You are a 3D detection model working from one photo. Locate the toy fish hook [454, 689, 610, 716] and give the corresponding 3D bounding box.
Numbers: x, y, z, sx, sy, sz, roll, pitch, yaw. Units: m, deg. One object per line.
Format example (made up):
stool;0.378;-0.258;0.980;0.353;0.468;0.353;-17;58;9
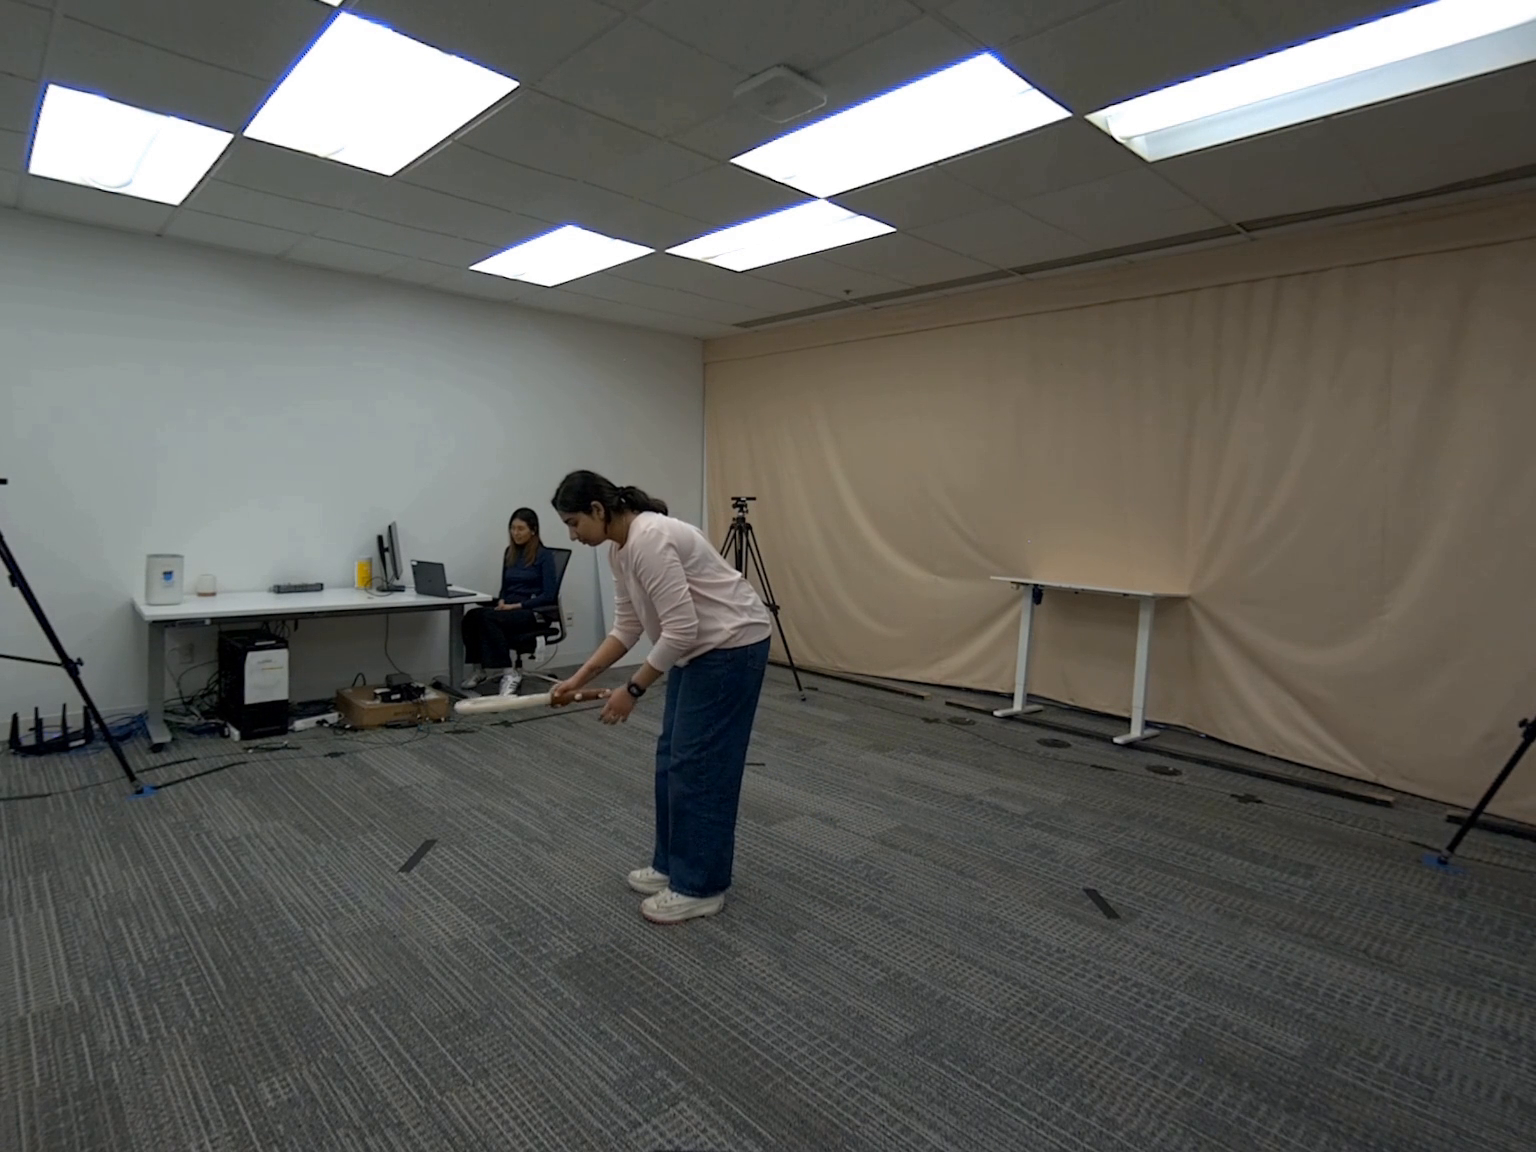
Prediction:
toy fish hook;-0.784;0.412;2.806;0.501;0.048;0.227;-3;5;-13
